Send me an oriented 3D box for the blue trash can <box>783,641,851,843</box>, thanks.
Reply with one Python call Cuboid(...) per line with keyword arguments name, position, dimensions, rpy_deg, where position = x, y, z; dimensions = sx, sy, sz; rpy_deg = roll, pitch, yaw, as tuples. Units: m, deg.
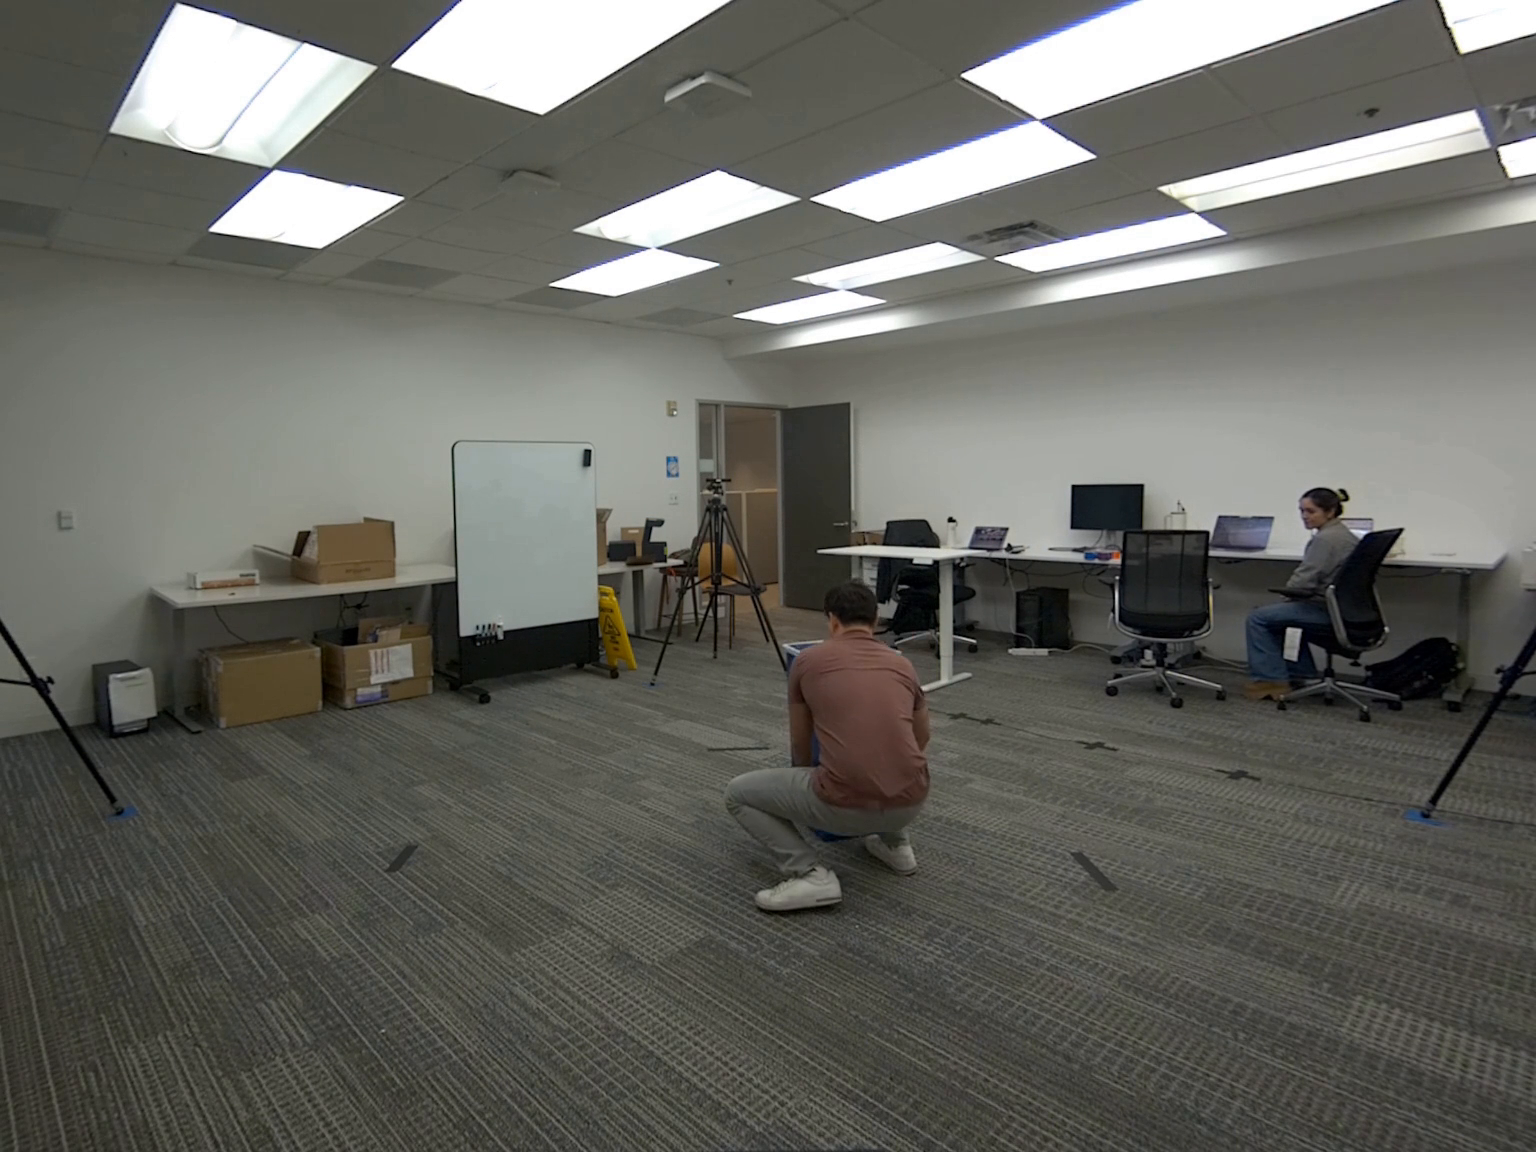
Cuboid(name="blue trash can", position=(0.294, 0.640, 3.448), dimensions=(0.371, 0.711, 0.382), rpy_deg=(-2, 4, -21))
